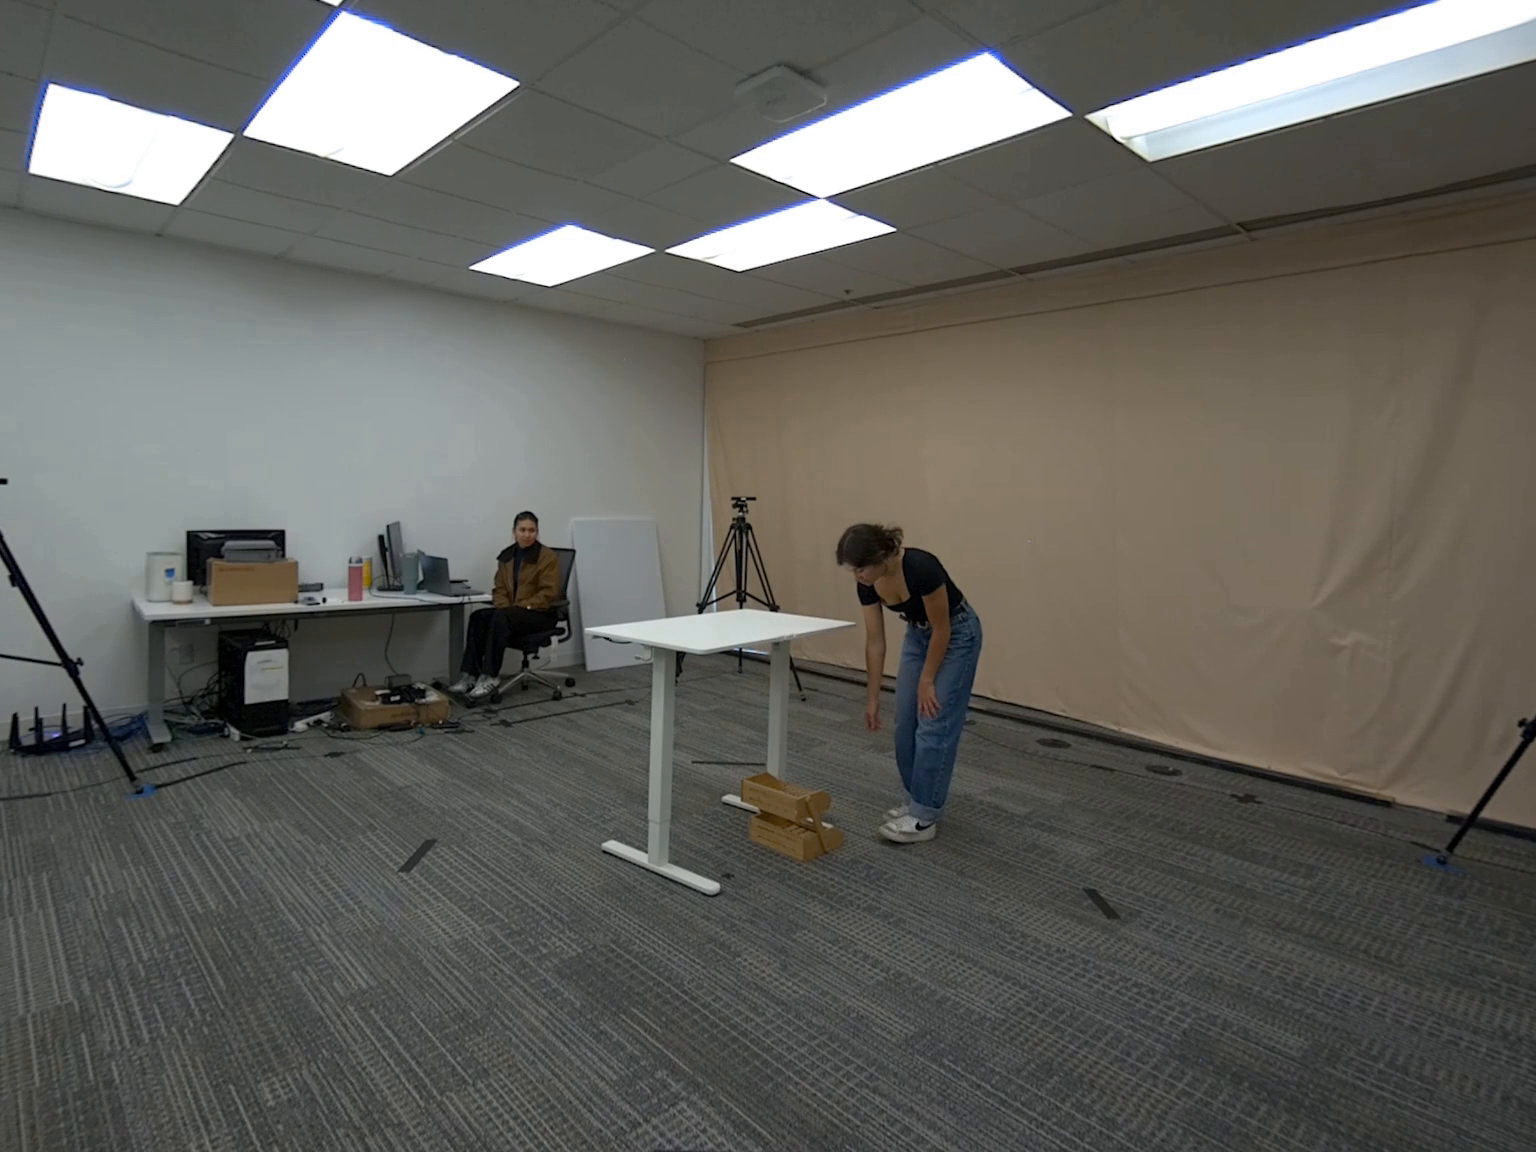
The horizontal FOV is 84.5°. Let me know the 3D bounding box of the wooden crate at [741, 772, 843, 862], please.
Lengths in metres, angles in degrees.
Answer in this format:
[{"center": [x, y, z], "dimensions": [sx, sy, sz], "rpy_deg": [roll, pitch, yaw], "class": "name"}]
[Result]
[{"center": [0.095, 0.952, 3.408], "dimensions": [0.333, 0.272, 0.295], "rpy_deg": [5, 6, 43], "class": "wooden crate"}]
